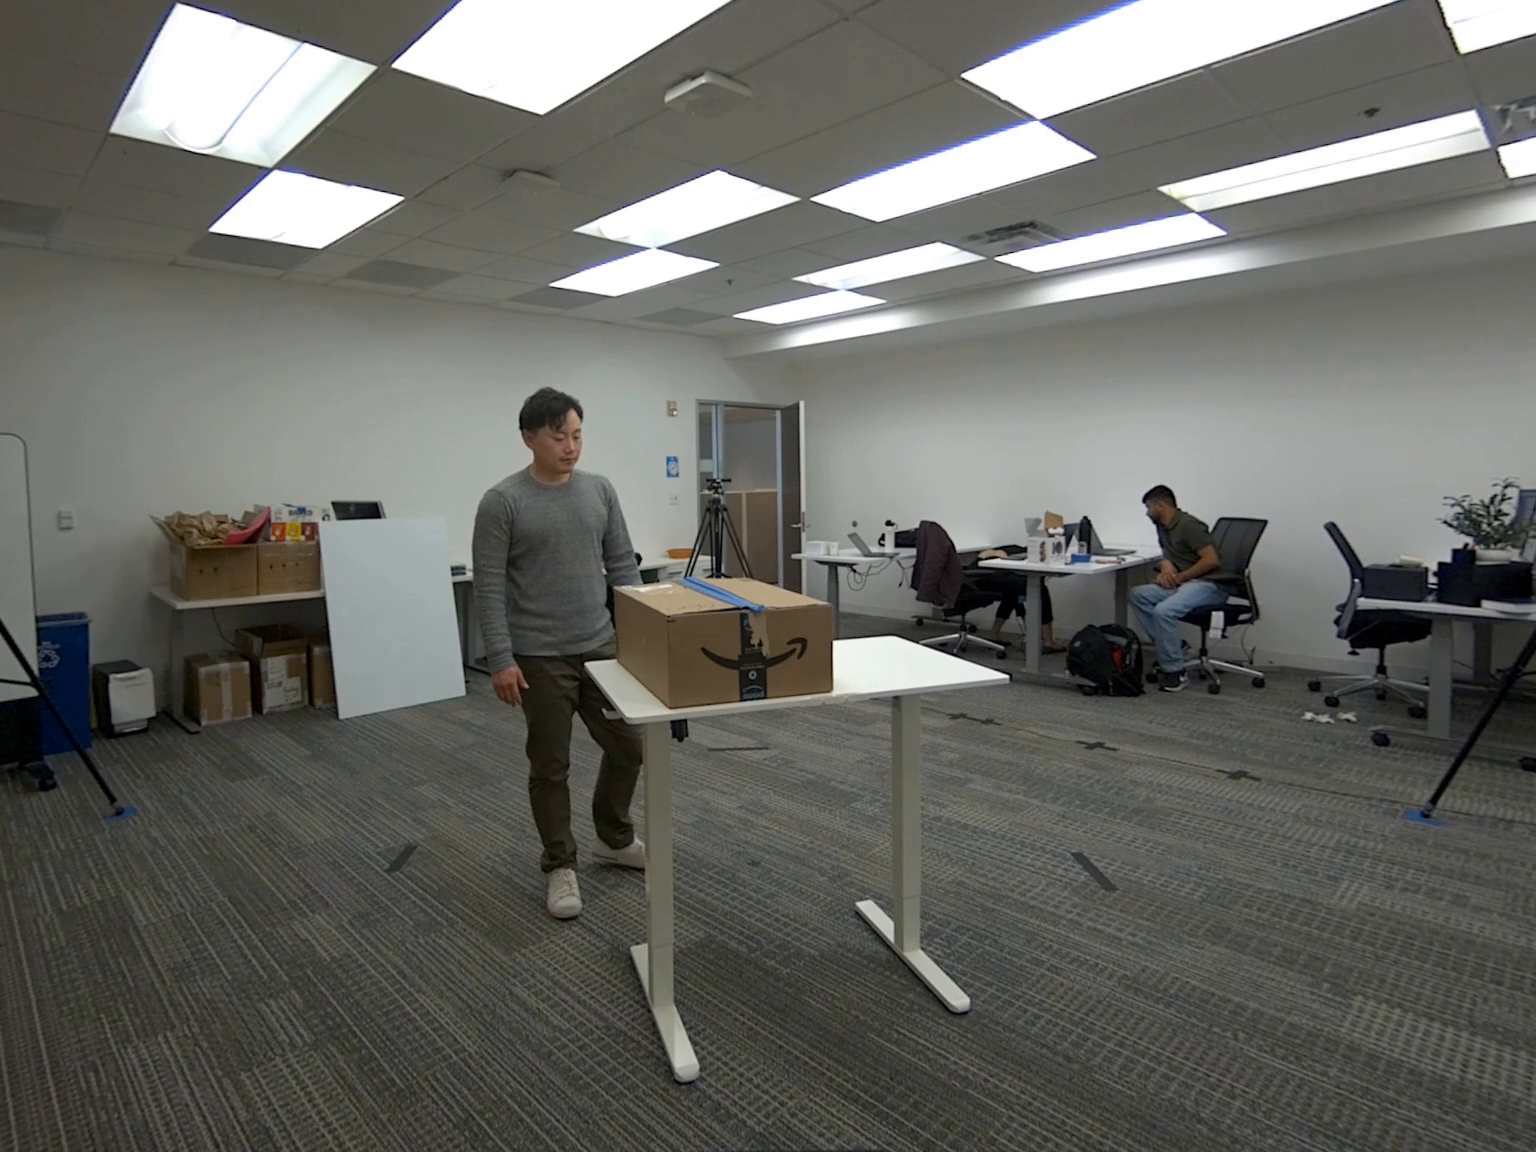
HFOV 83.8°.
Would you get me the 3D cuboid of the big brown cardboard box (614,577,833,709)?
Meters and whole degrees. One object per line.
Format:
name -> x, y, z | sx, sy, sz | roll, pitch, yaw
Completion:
big brown cardboard box -> -0.137, 0.155, 2.258 | 0.410, 0.232, 0.603 | -3, 7, -22
